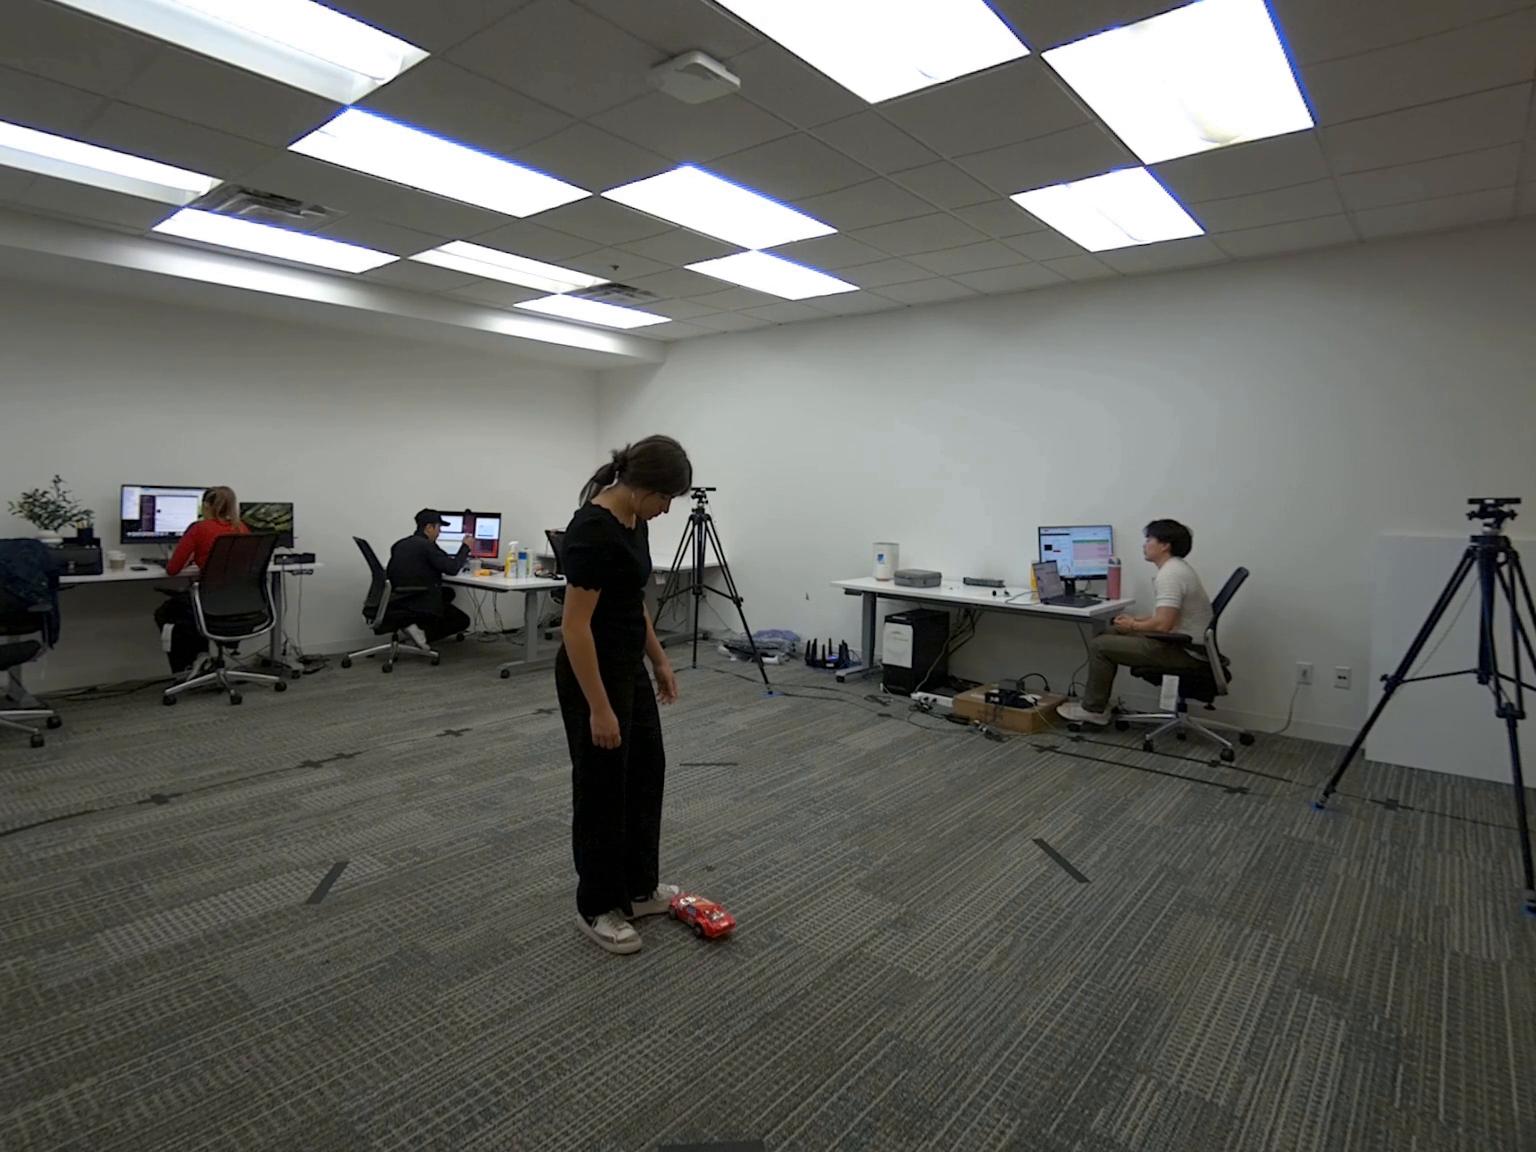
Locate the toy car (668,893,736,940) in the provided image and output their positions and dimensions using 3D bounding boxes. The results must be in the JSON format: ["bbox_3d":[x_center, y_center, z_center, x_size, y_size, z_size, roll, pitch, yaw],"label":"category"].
[{"bbox_3d":[-0.219,1.078,2.683,0.126,0.083,0.261,-3,-4,-40],"label":"toy car"}]
